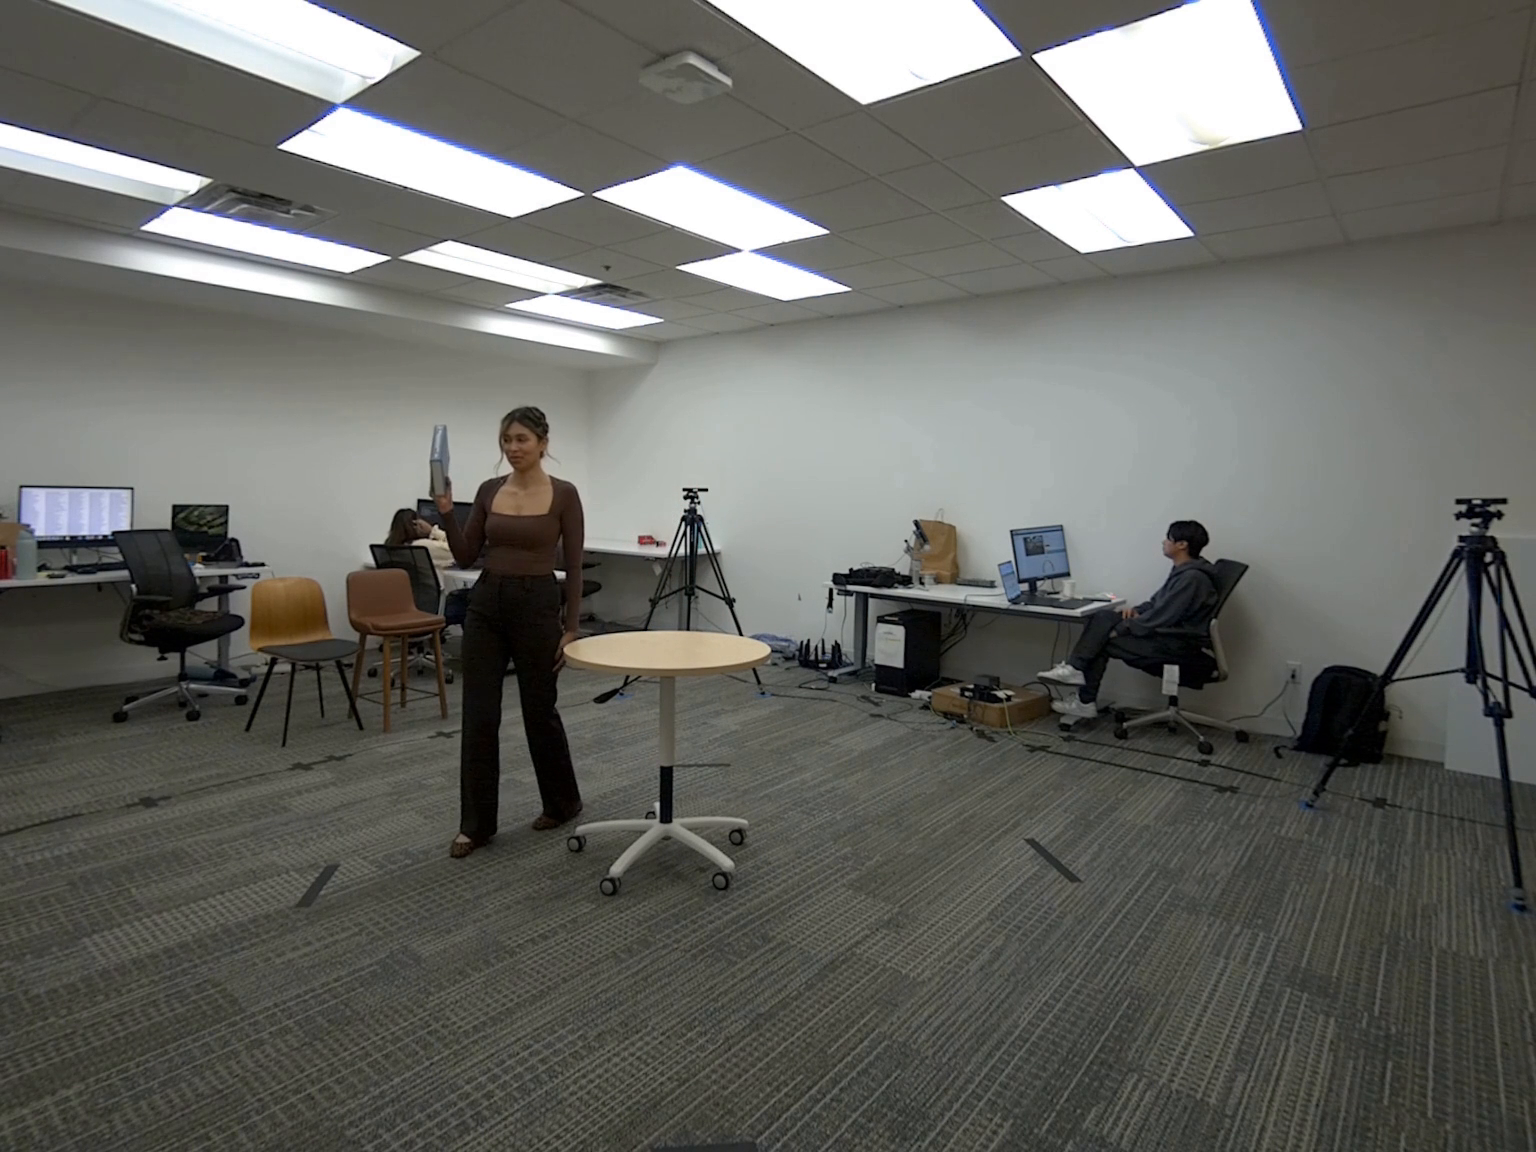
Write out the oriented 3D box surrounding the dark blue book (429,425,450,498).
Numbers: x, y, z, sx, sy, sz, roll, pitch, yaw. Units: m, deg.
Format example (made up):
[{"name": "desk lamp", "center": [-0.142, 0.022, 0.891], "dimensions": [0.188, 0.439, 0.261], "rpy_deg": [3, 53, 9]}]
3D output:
[{"name": "dark blue book", "center": [-1.246, -0.441, 3.205], "dimensions": [0.045, 0.159, 0.253], "rpy_deg": [0, 41, -12]}]
